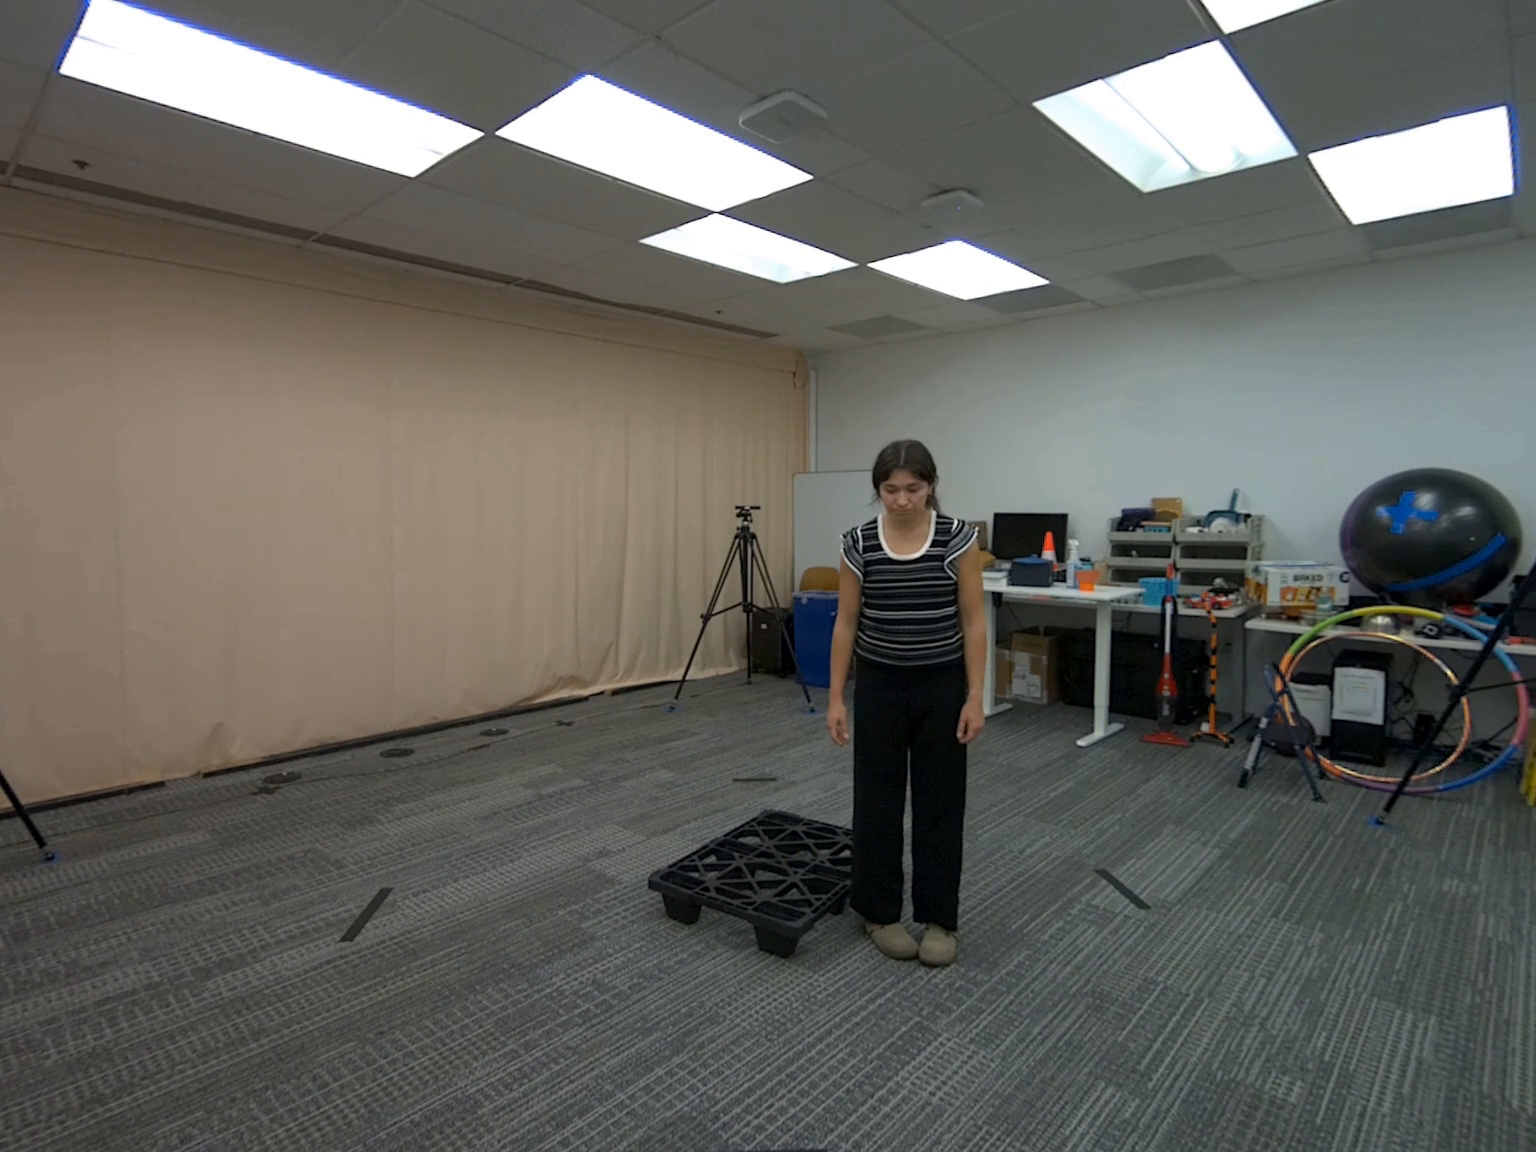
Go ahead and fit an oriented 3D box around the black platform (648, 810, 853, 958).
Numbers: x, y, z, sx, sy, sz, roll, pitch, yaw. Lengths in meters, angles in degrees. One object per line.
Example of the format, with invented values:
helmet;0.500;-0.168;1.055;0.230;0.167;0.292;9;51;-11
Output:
black platform;0.055;1.074;3.013;0.624;0.143;0.783;4;6;33
